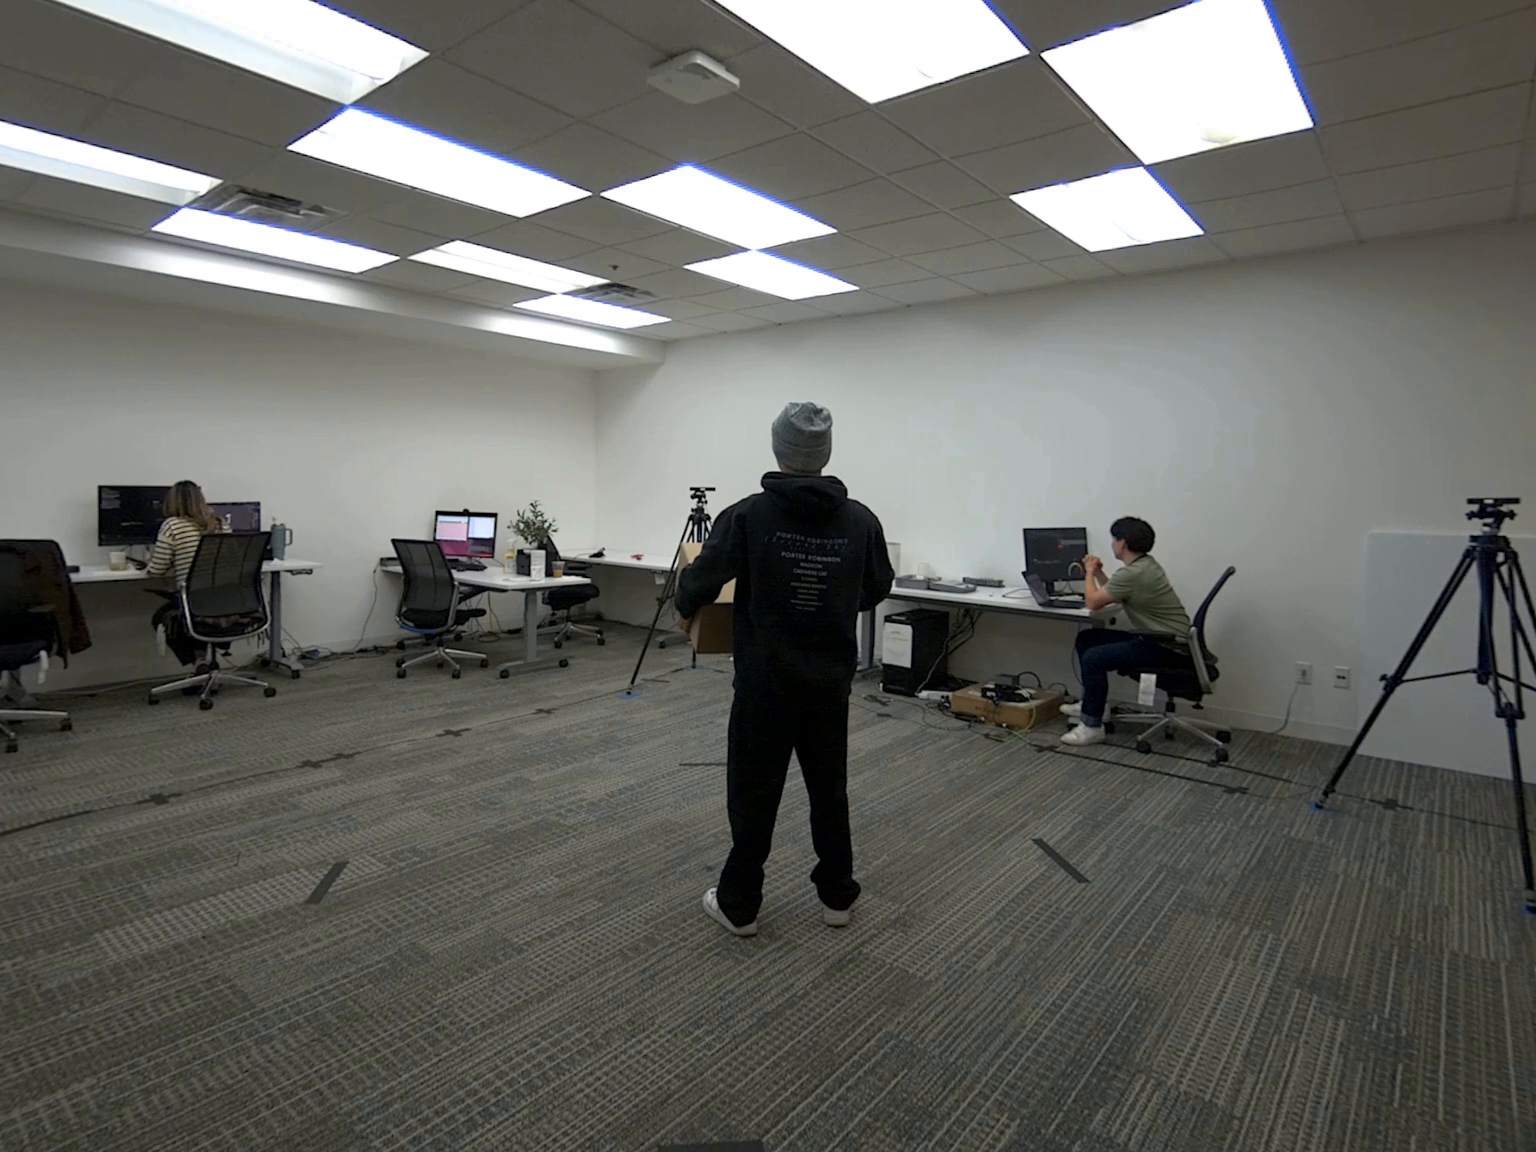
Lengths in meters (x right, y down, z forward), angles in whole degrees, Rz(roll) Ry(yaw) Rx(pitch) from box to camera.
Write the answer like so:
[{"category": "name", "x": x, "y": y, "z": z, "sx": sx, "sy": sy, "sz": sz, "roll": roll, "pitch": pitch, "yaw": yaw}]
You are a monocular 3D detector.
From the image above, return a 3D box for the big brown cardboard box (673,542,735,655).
[{"category": "big brown cardboard box", "x": -0.027, "y": 0.069, "z": 3.116, "sx": 0.580, "sy": 0.228, "sz": 0.432, "roll": 1, "pitch": 29, "yaw": -14}]
